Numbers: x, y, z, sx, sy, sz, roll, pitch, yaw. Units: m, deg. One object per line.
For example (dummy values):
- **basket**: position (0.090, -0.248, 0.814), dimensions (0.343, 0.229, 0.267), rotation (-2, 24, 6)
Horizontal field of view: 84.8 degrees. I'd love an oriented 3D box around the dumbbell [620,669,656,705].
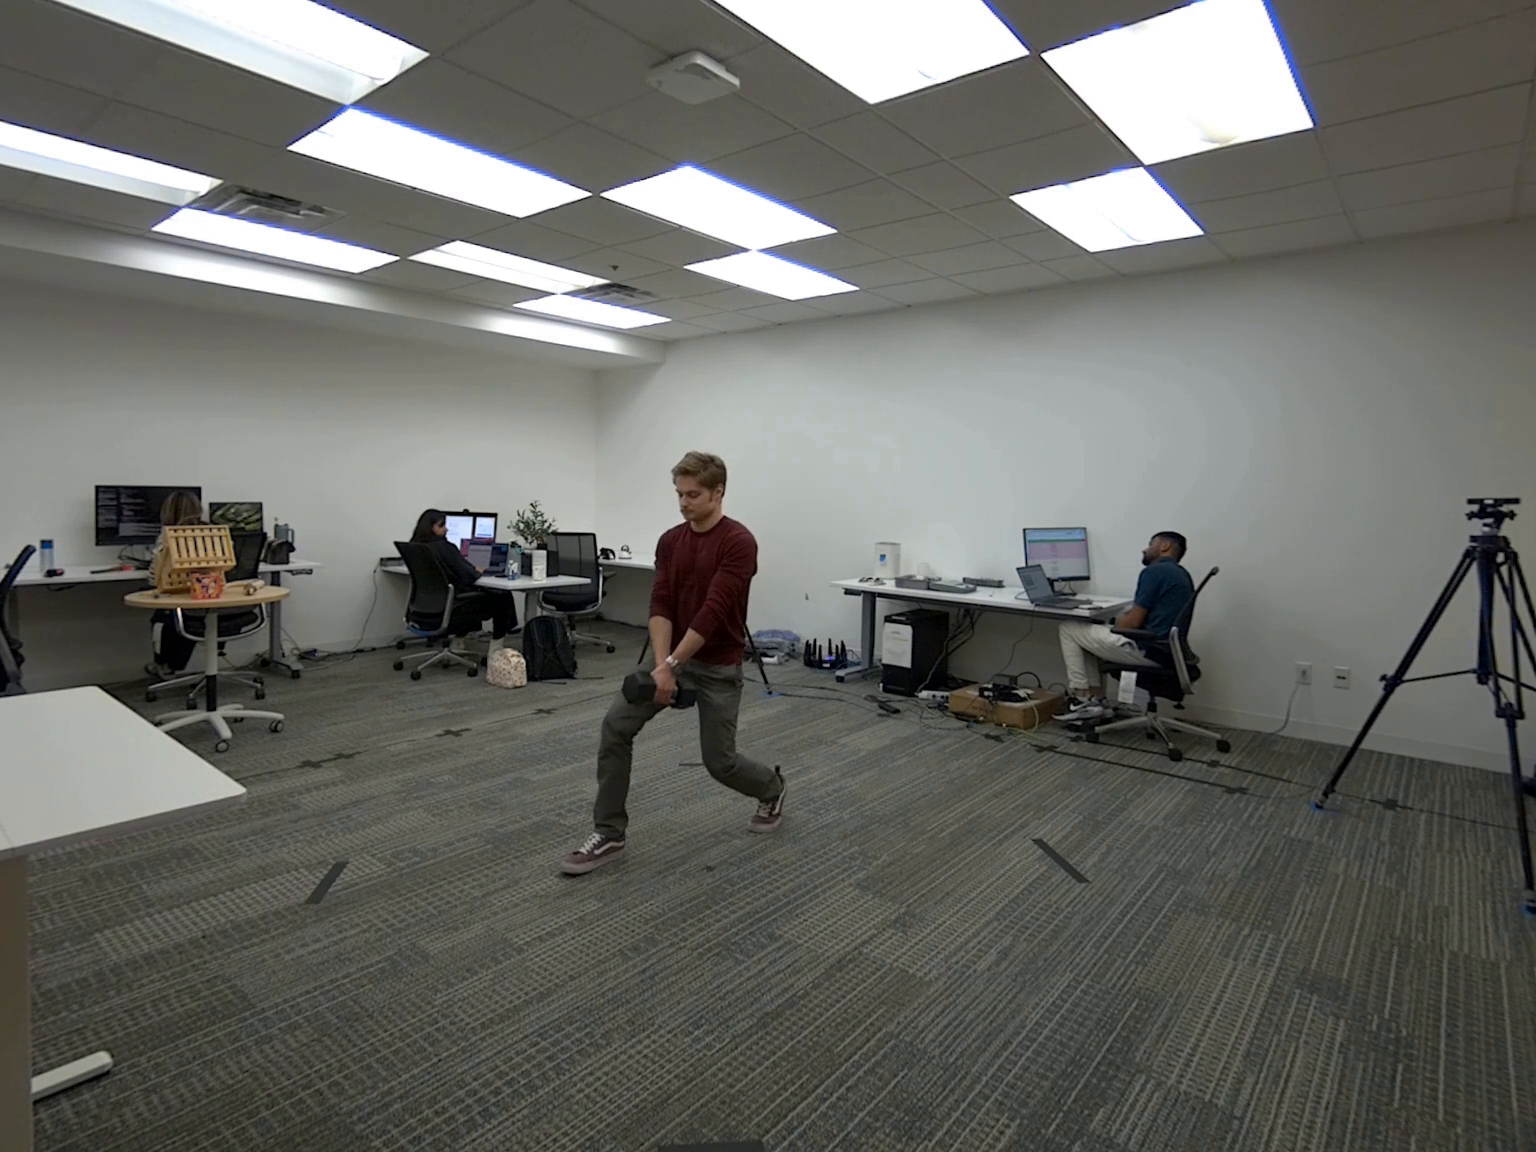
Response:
- **dumbbell**: position (-0.402, 0.416, 3.099), dimensions (0.282, 0.108, 0.128), rotation (16, 27, -46)
